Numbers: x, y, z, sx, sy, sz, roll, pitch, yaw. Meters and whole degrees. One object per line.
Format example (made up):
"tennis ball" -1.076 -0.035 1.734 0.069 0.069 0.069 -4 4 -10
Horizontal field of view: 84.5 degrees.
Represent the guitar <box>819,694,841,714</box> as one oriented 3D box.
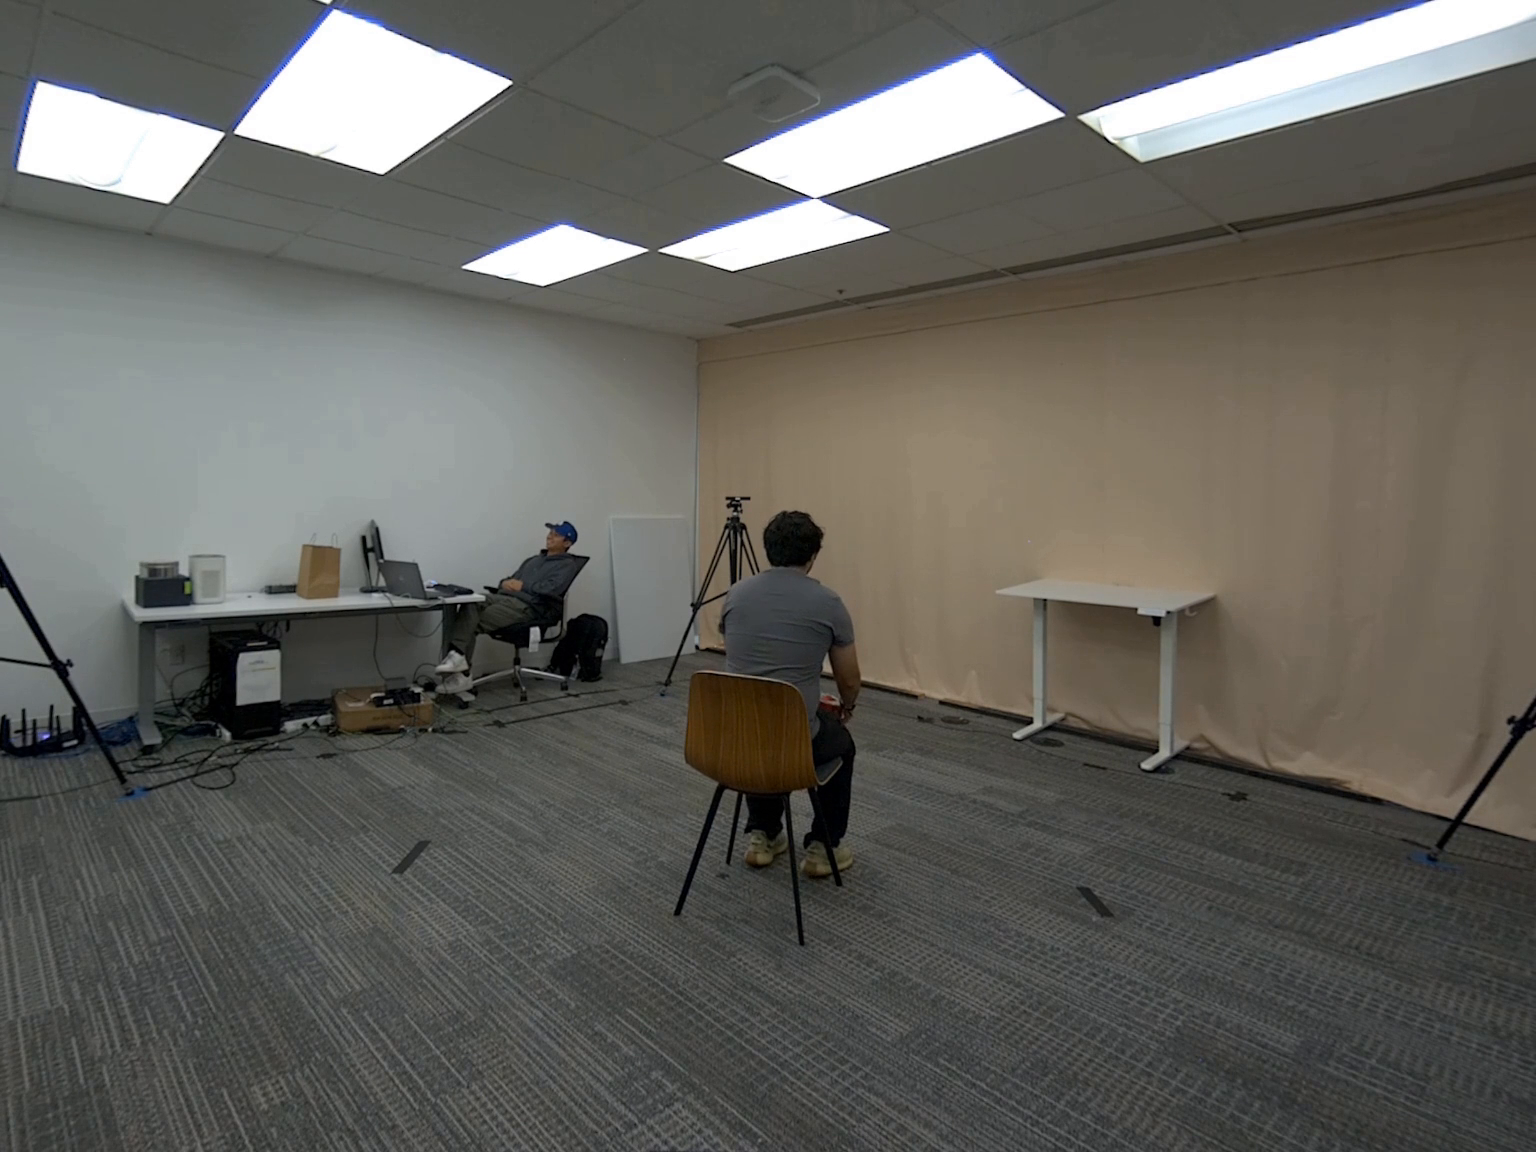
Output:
"guitar" 0.115 0.447 3.442 0.187 0.070 0.514 18 9 -44
